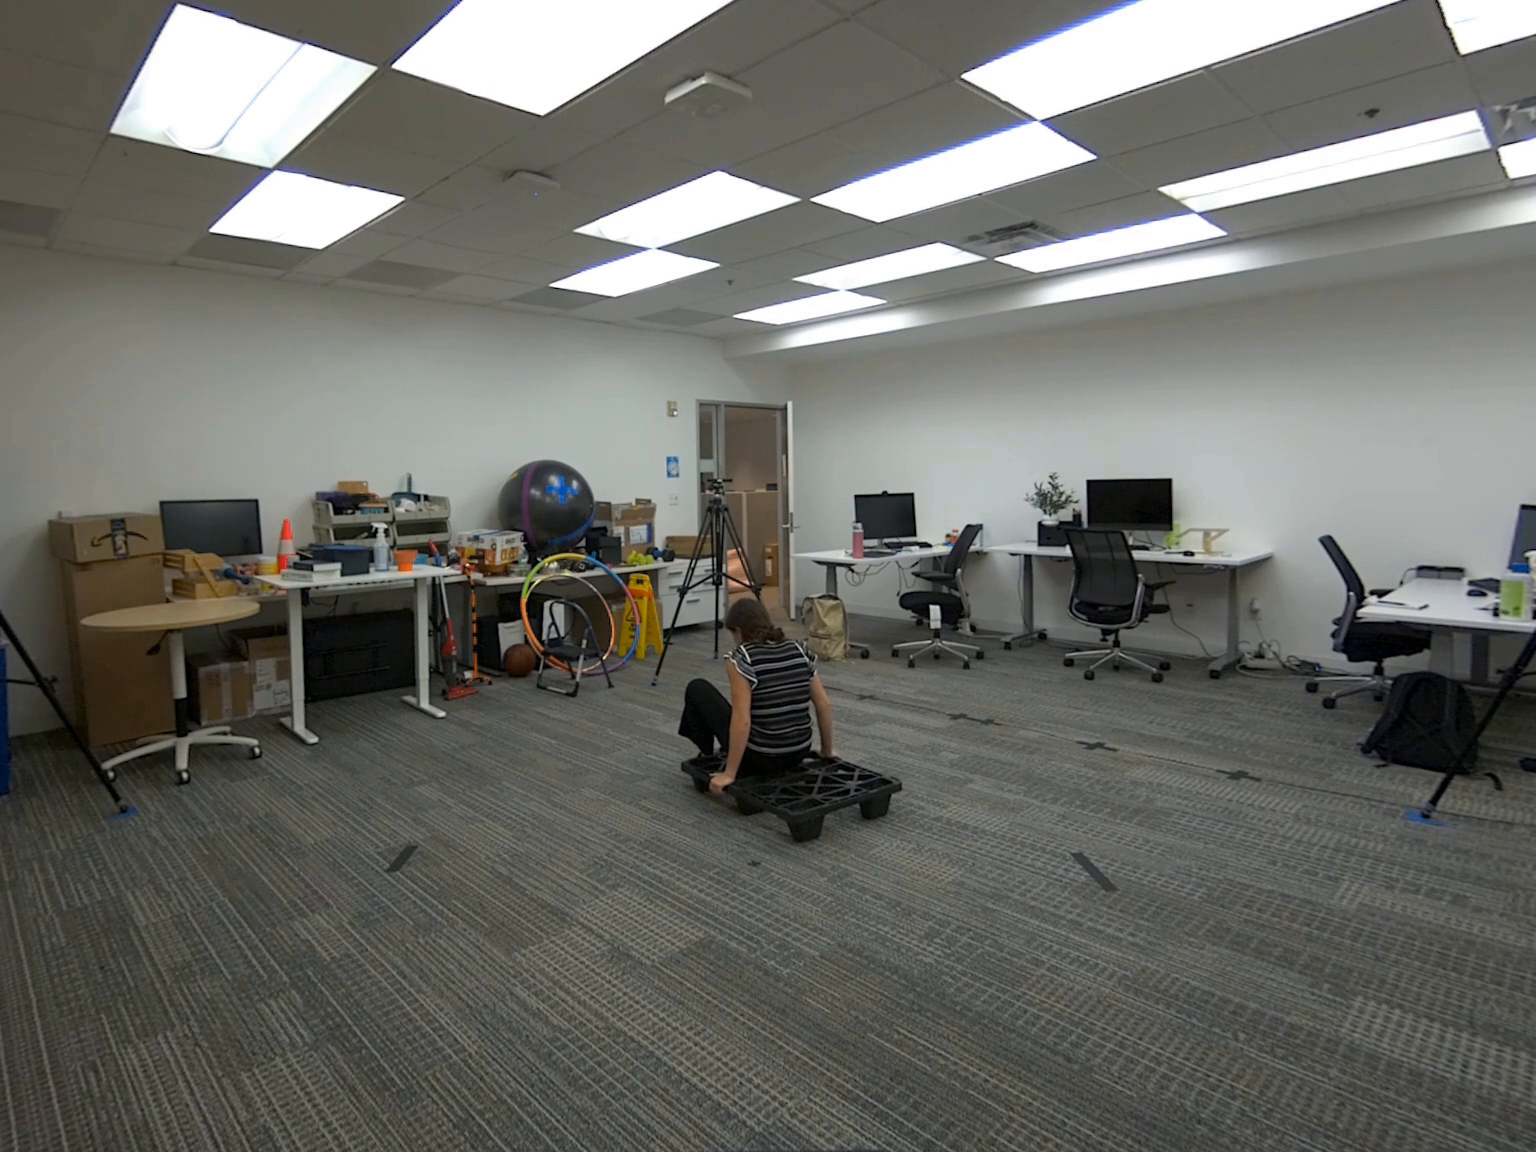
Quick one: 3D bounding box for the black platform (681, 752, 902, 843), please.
[{"bbox_3d":[0.085,0.909,3.692,0.589,0.143,0.830,-5,7,-36],"label":"black platform"}]
